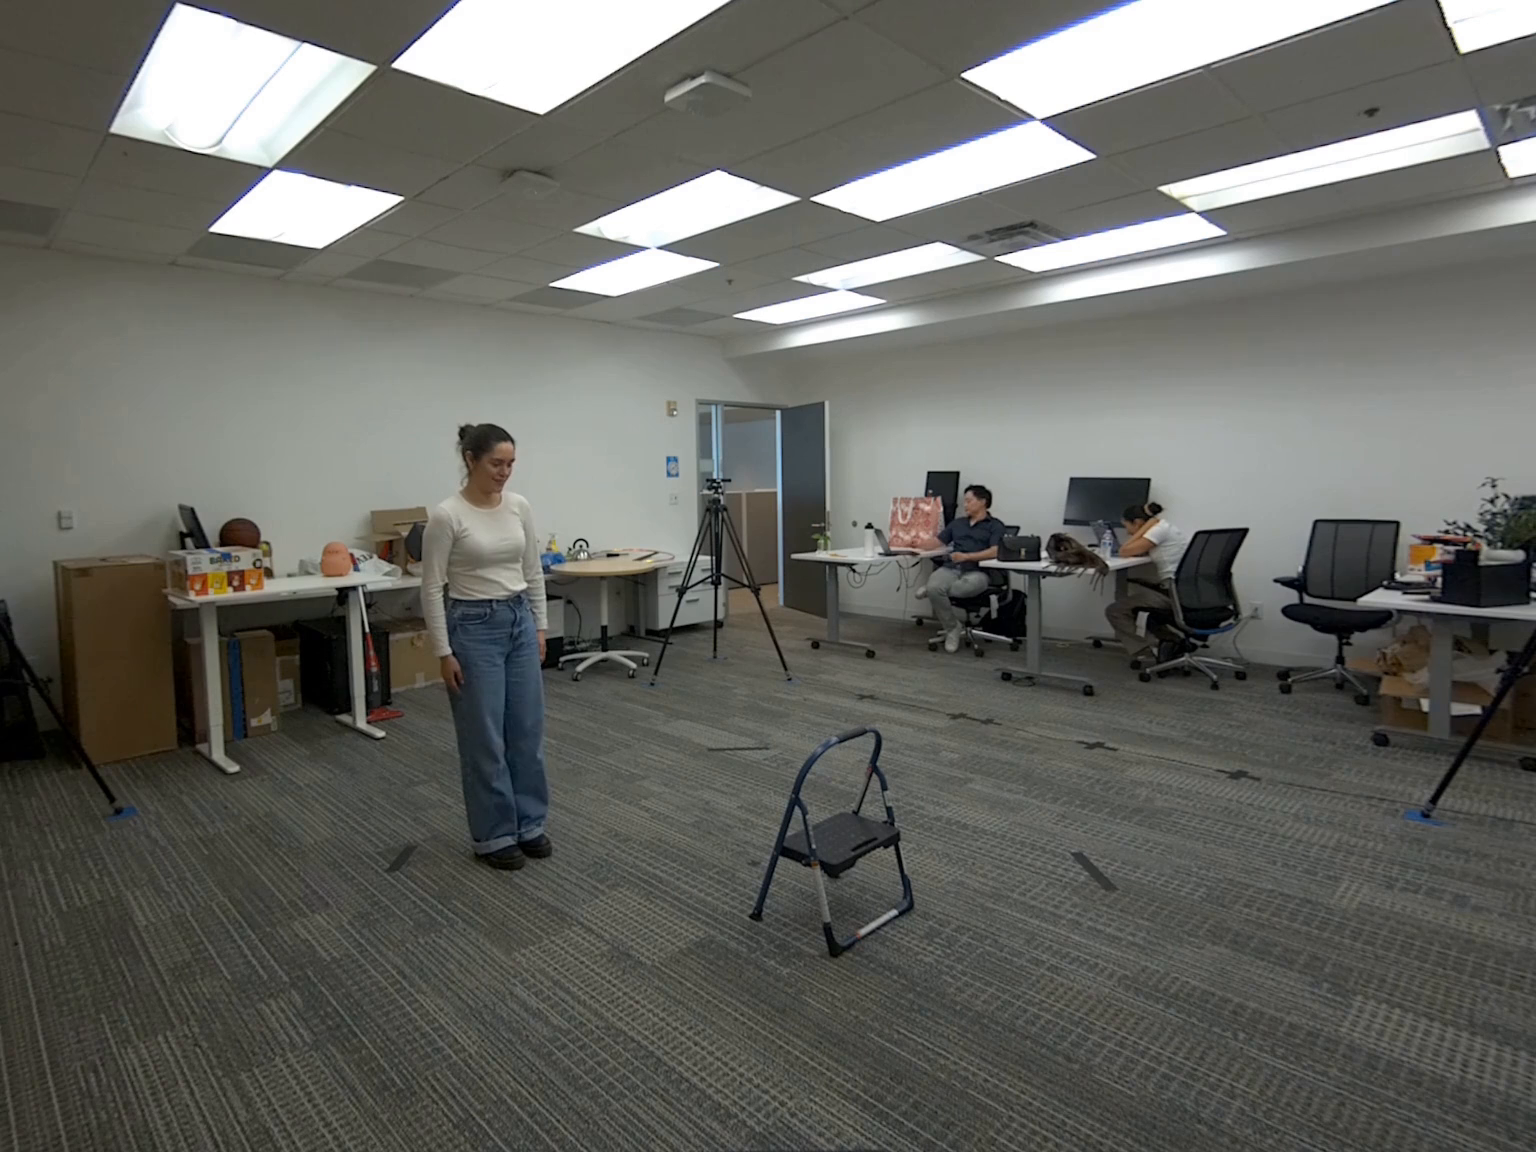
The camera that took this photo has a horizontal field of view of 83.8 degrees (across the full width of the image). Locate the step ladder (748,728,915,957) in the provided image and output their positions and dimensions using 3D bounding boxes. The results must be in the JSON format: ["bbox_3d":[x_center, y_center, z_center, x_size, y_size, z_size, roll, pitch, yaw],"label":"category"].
[{"bbox_3d":[0.205,0.780,2.727,0.360,0.604,0.419,3,6,44],"label":"step ladder"}]
